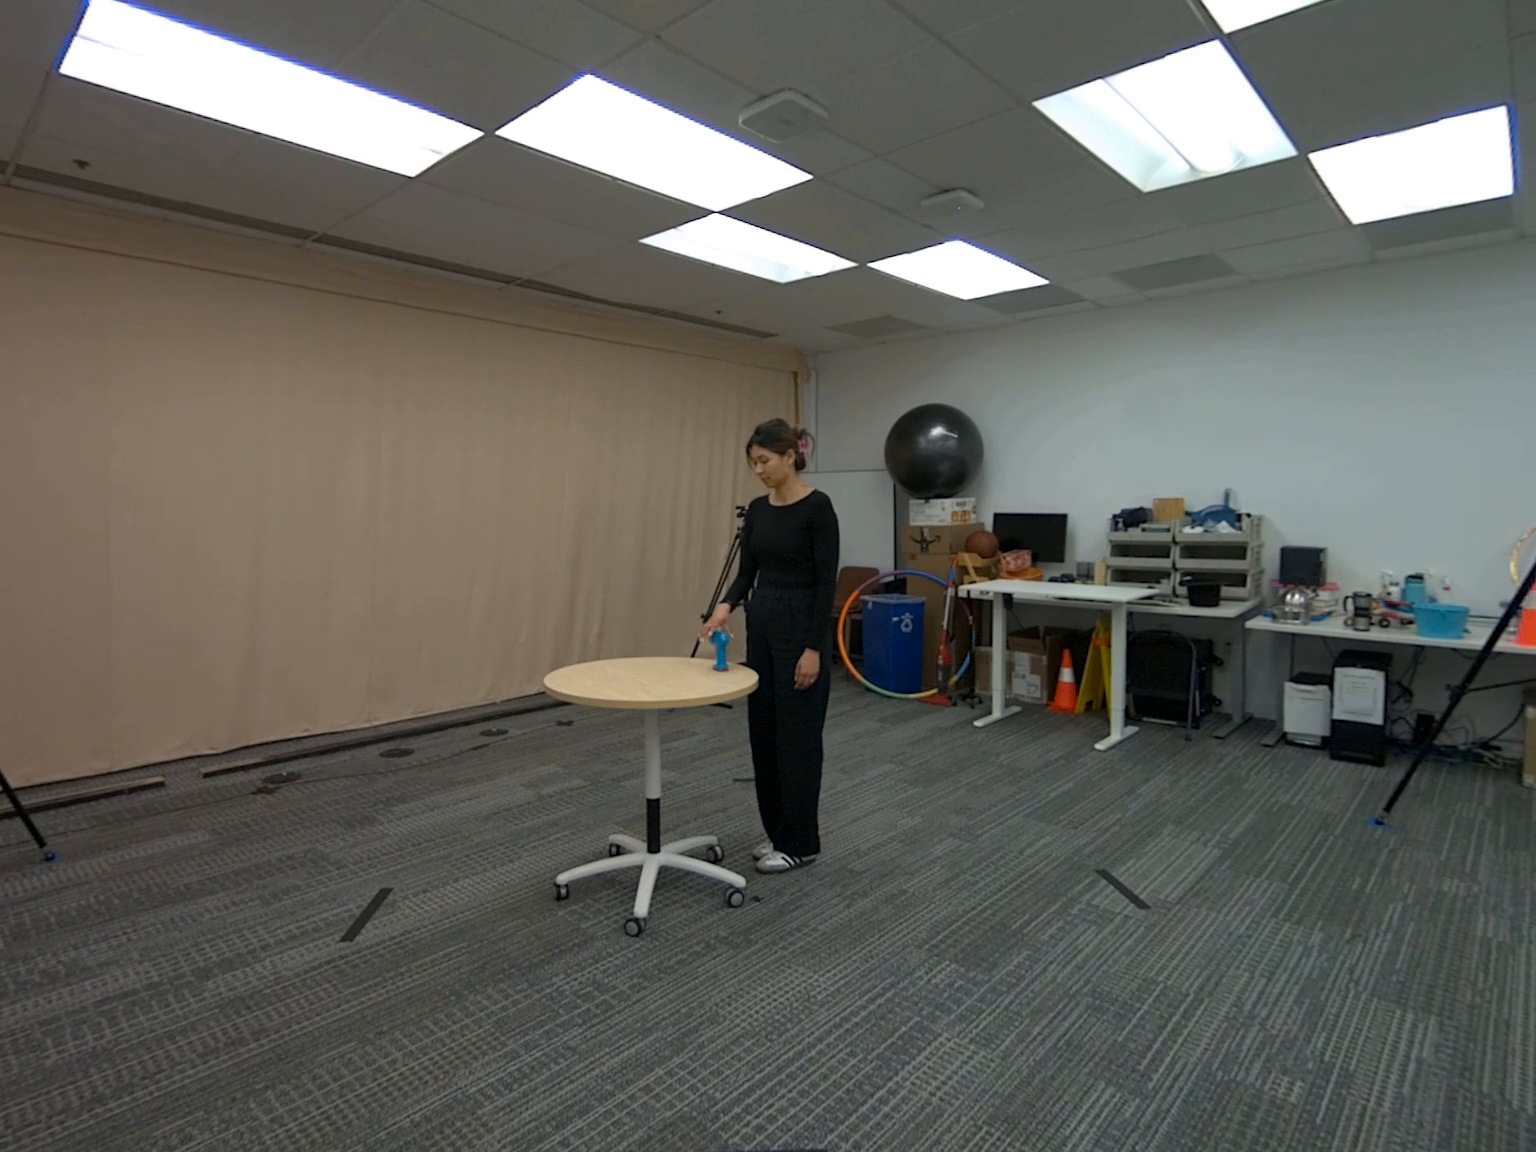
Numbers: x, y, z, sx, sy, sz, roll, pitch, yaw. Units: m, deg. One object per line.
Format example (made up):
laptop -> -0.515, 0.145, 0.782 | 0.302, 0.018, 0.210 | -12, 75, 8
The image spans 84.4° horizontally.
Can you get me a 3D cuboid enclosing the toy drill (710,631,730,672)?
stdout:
toy drill -> -0.195, 0.275, 3.170 | 0.059, 0.146, 0.174 | -1, 4, -28
